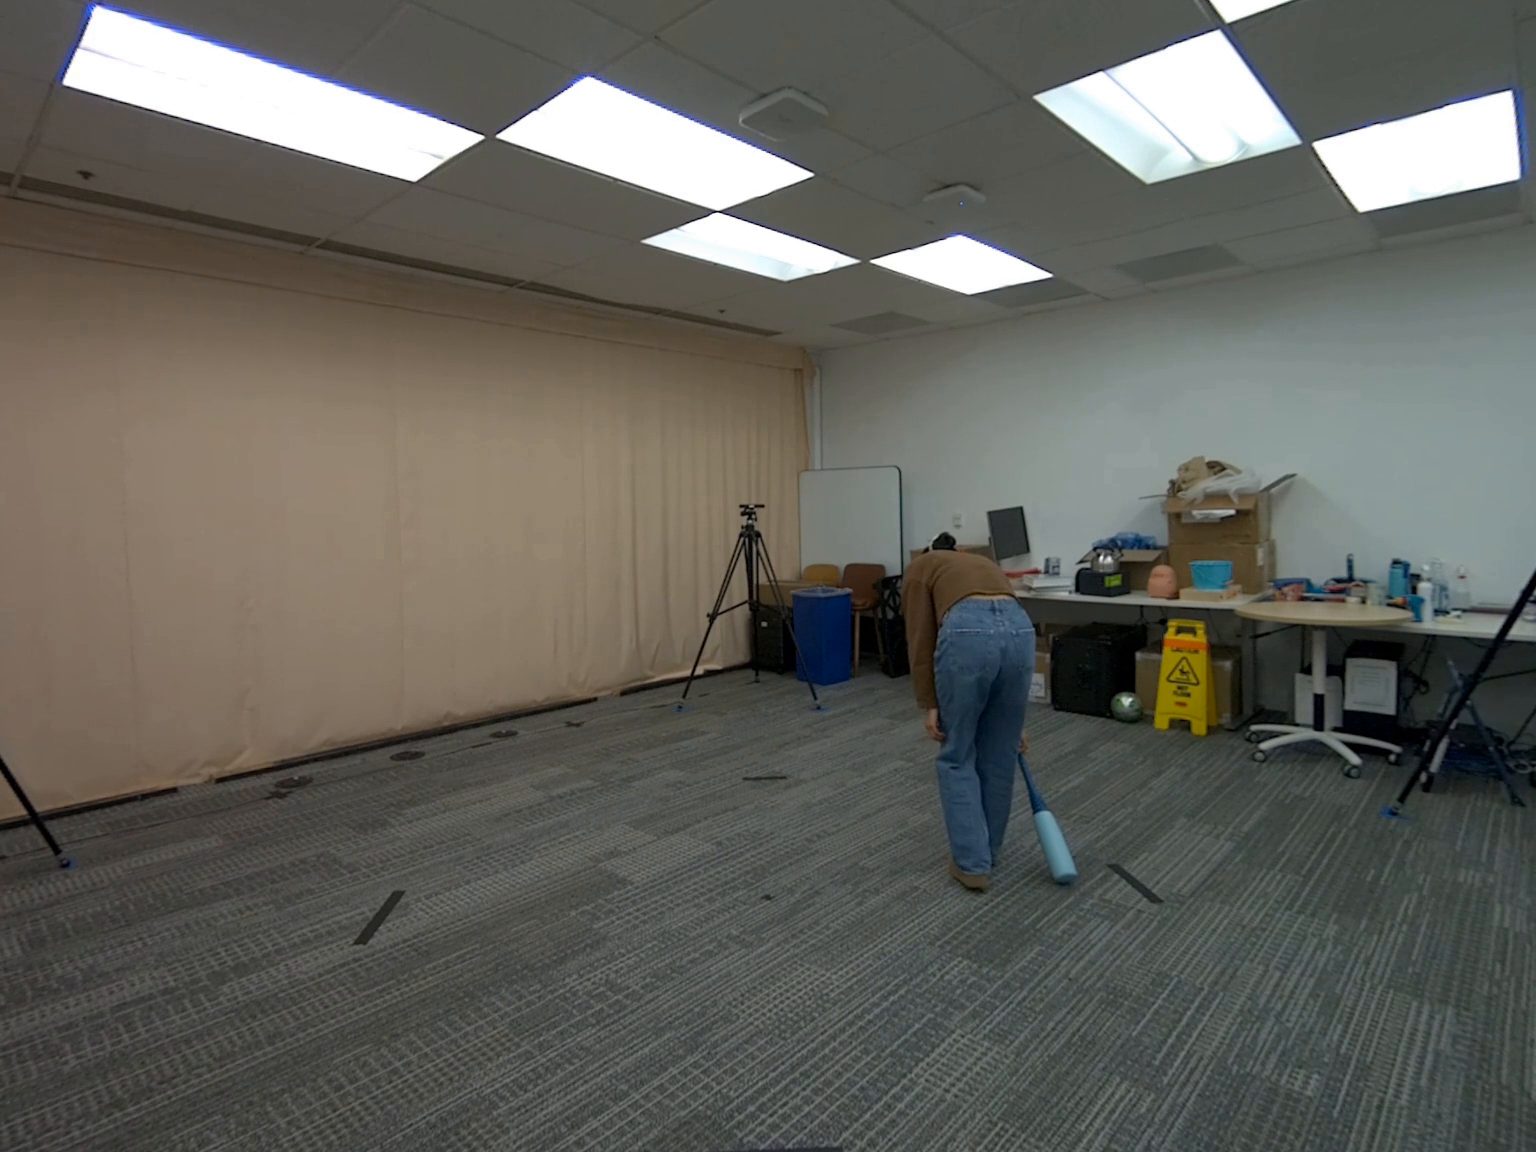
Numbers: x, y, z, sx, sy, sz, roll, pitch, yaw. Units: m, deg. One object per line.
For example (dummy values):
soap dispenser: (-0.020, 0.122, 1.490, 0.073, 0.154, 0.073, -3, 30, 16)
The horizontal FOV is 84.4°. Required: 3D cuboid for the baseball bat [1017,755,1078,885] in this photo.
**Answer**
baseball bat: (1.052, 0.897, 3.203, 0.088, 0.087, 0.555, -2, 48, -8)
